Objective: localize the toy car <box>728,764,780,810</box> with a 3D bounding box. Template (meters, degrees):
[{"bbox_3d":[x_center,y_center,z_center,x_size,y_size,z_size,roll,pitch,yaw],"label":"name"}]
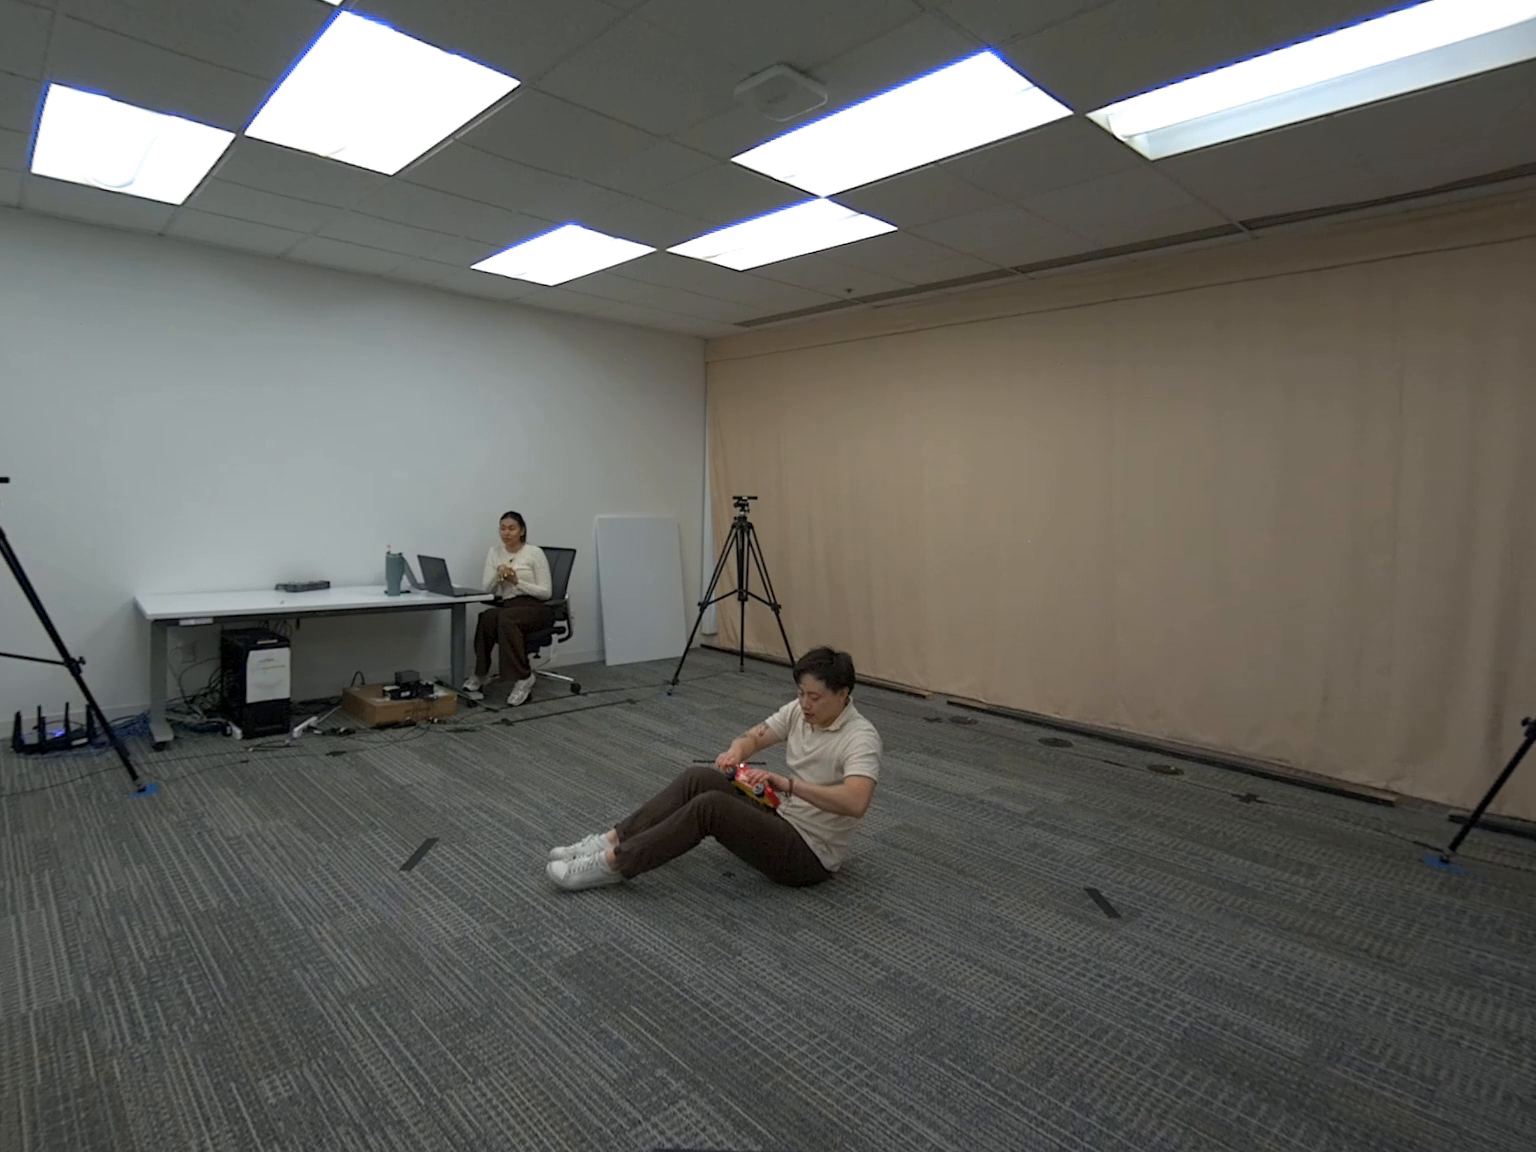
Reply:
[{"bbox_3d":[-0.077,0.710,2.851,0.083,0.126,0.262,-42,34,-12],"label":"toy car"}]
